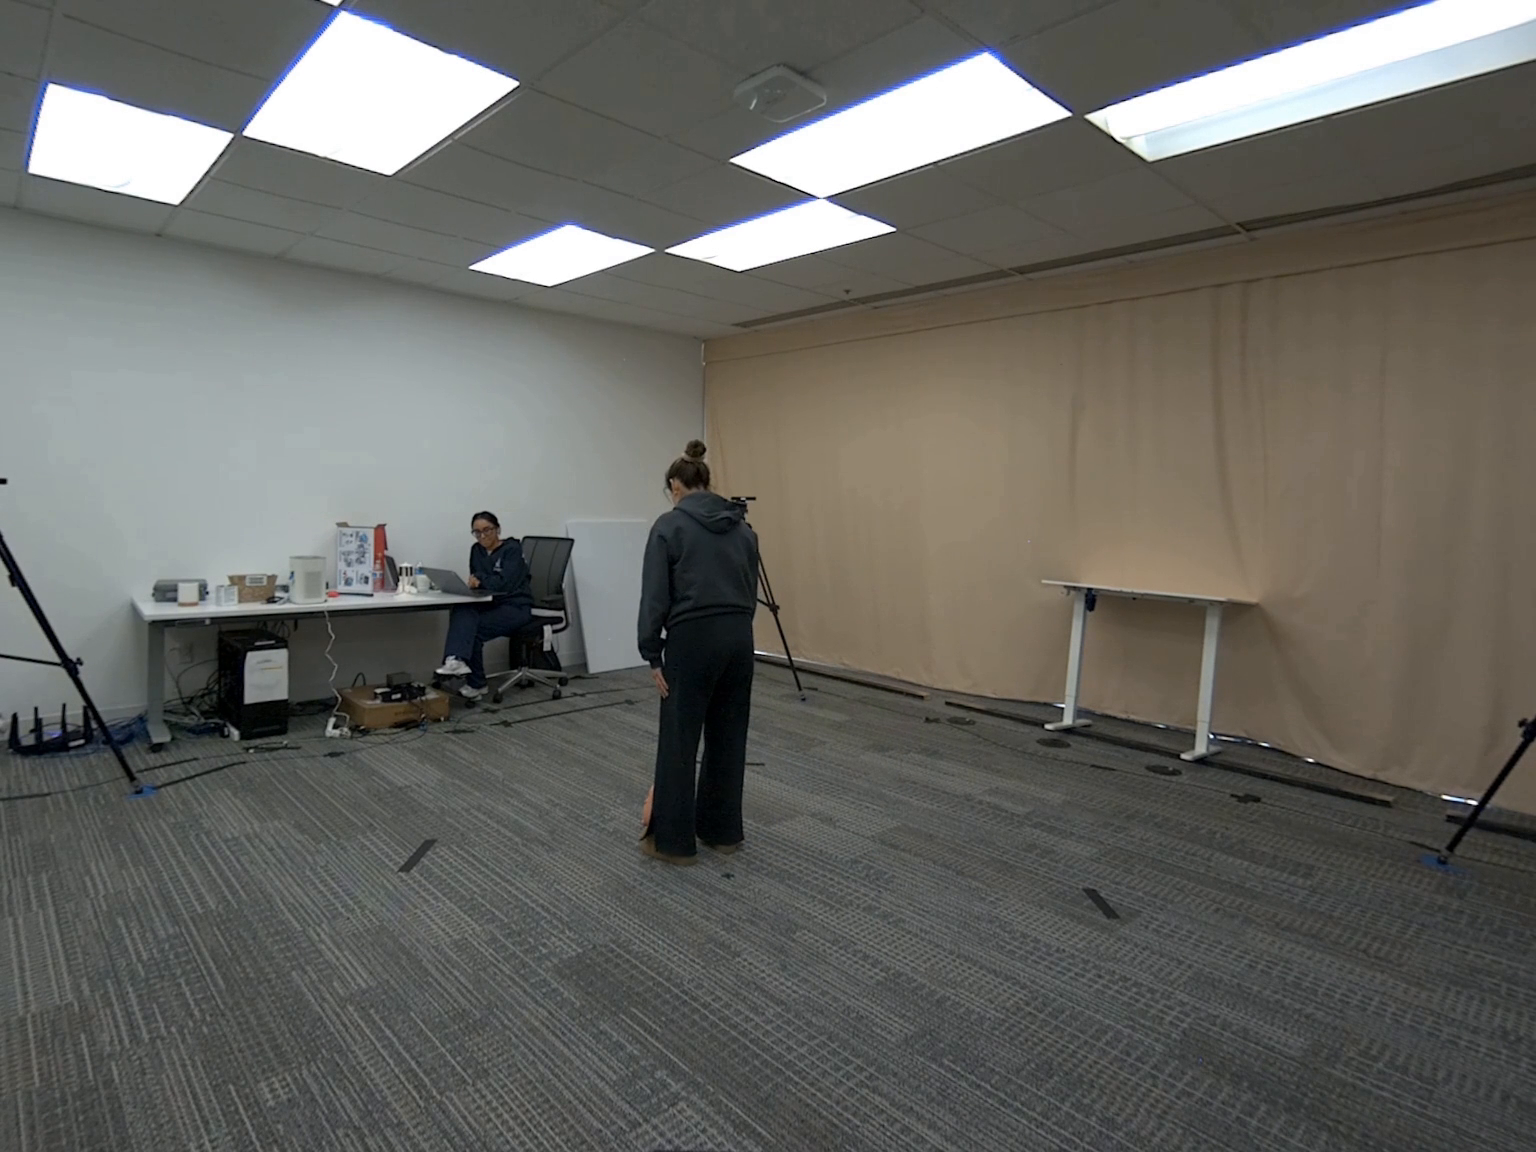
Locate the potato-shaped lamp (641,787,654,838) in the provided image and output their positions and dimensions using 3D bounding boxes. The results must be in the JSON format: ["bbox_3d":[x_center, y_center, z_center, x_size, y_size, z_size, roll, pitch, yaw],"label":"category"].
[{"bbox_3d":[-0.455,0.960,3.574,0.176,0.197,0.161,9,6,39],"label":"potato-shaped lamp"}]
